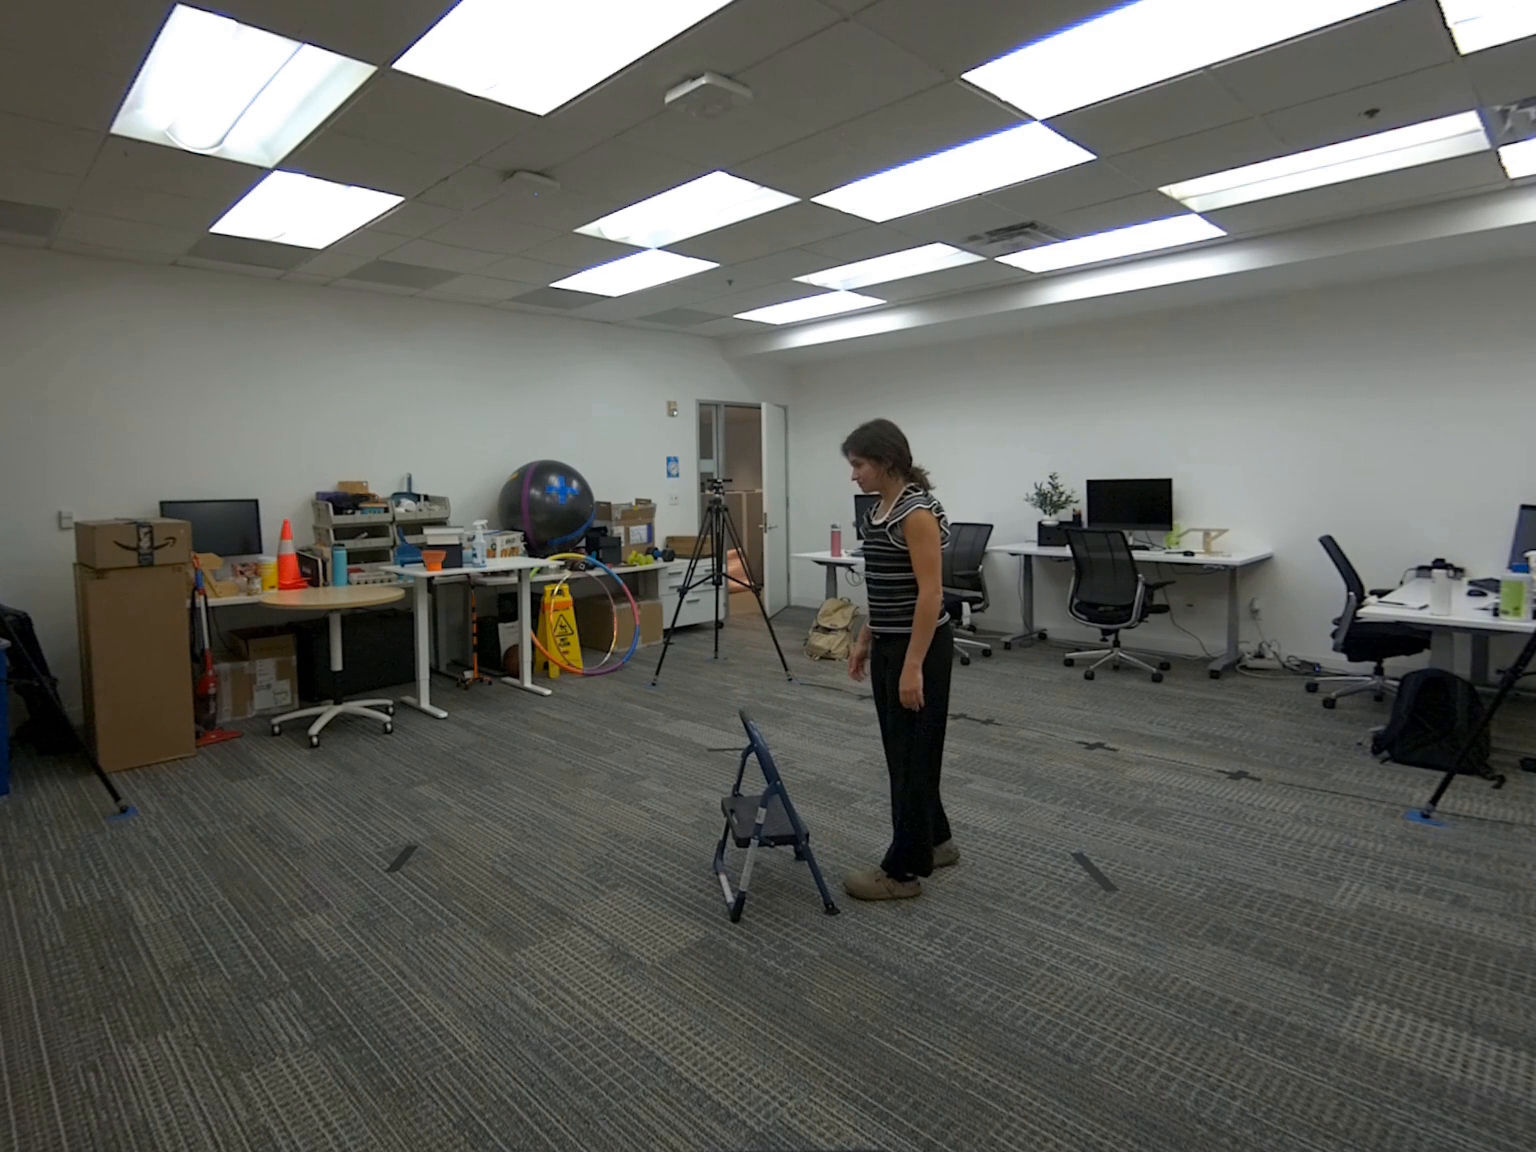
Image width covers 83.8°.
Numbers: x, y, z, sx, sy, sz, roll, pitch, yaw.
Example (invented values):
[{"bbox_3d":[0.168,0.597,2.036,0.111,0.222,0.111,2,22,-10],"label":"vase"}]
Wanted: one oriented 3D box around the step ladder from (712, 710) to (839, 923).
[{"bbox_3d":[0.010,0.766,2.898,0.346,0.604,0.437,-1,4,-11],"label":"step ladder"}]
